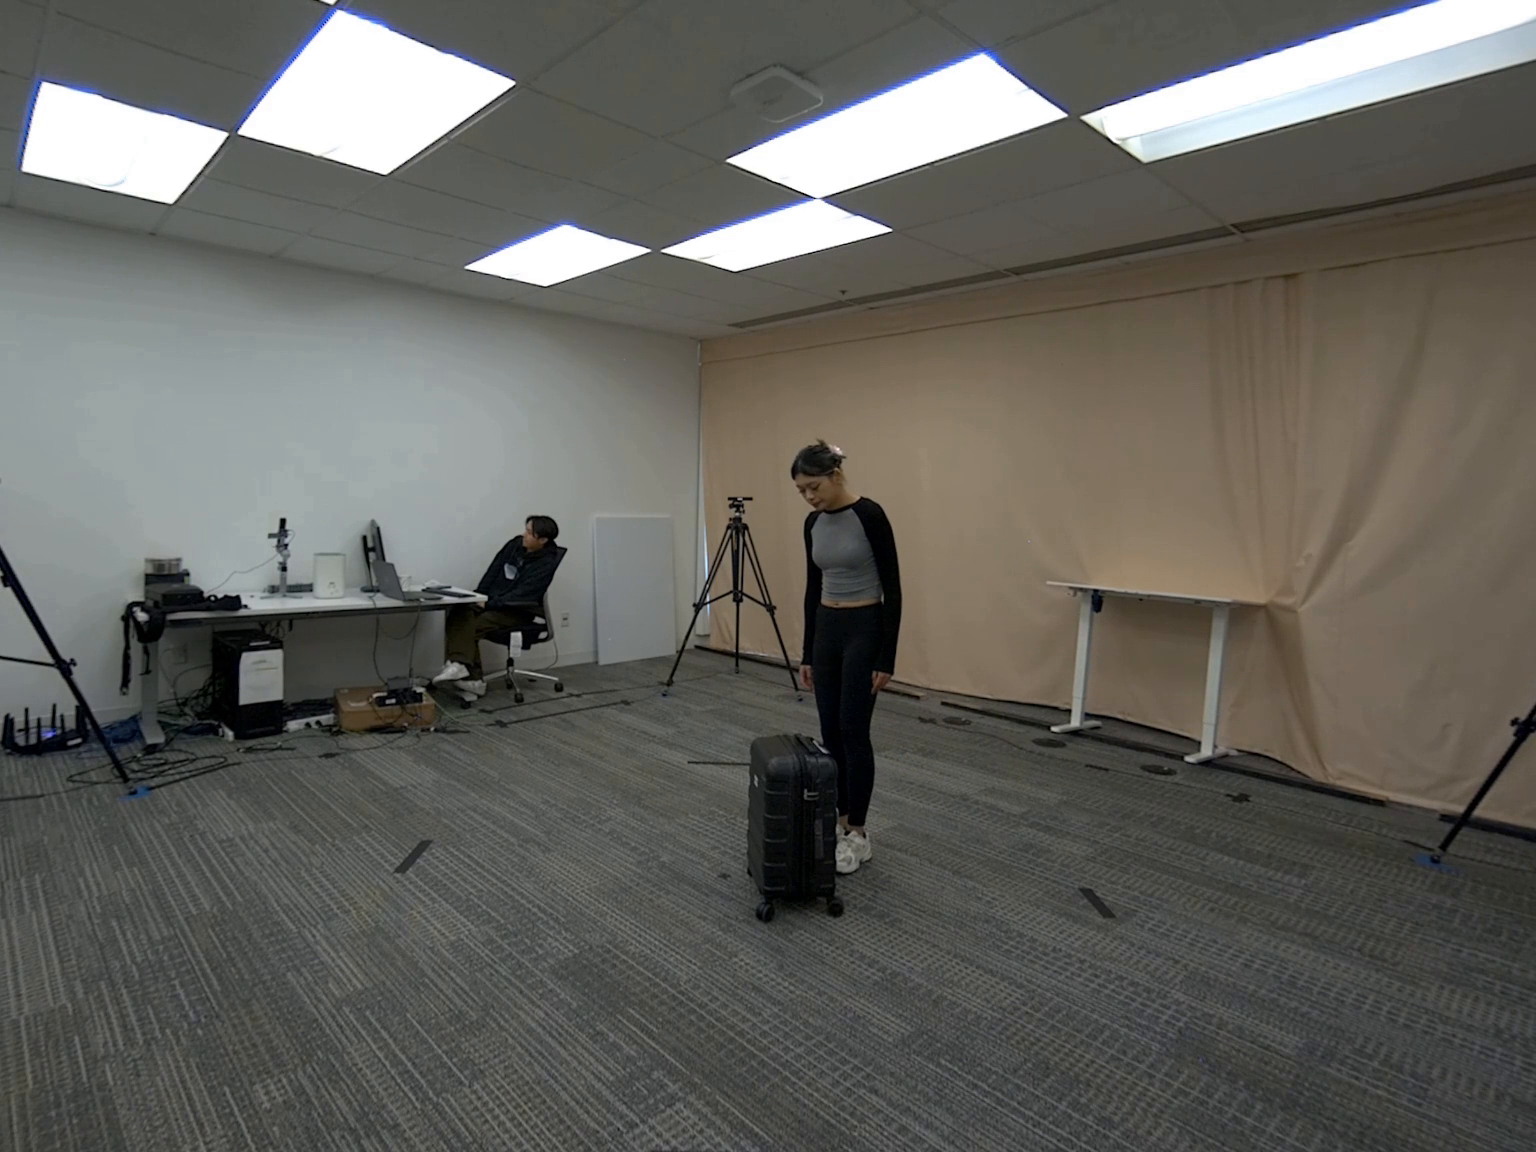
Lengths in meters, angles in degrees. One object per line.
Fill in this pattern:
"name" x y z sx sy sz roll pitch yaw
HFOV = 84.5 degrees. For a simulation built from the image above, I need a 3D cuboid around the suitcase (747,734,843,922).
"suitcase" 0.068 0.847 2.945 0.246 0.548 0.379 0 4 -11
